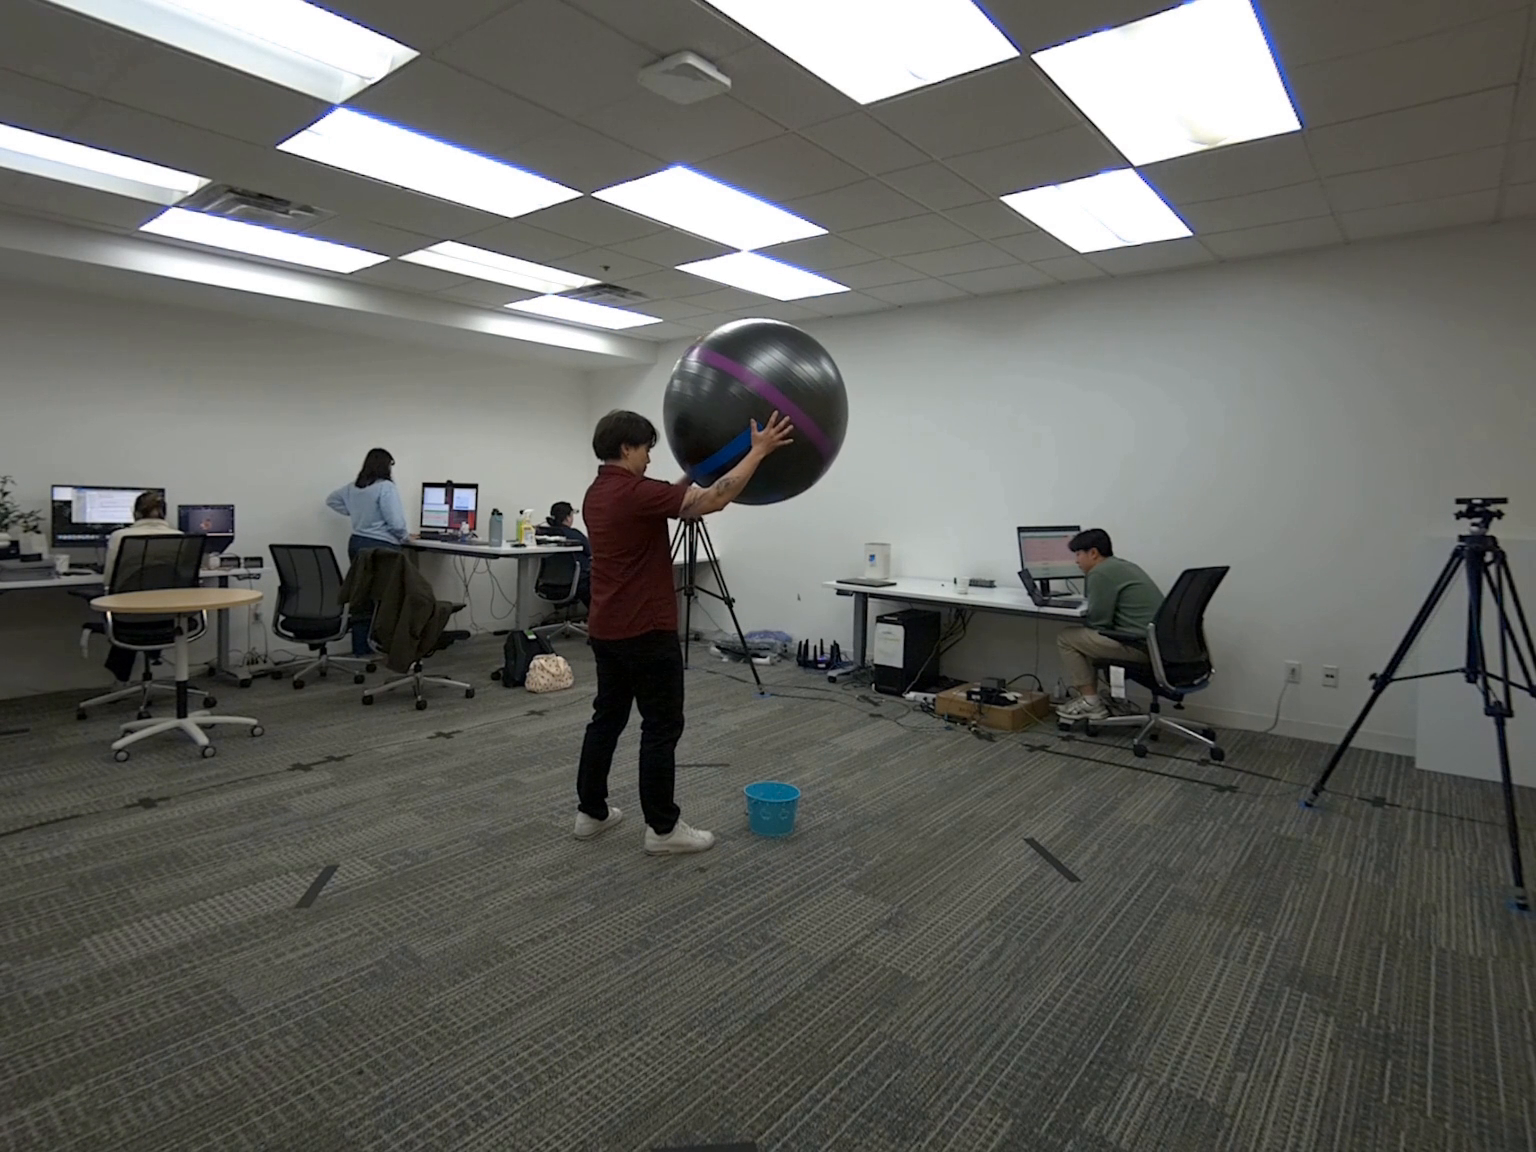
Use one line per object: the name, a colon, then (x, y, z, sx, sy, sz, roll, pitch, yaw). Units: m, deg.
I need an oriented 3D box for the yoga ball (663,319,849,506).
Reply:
yoga ball: (-0.062, -0.667, 3.521, 0.757, 0.755, 0.762, 1, 4, -2)
